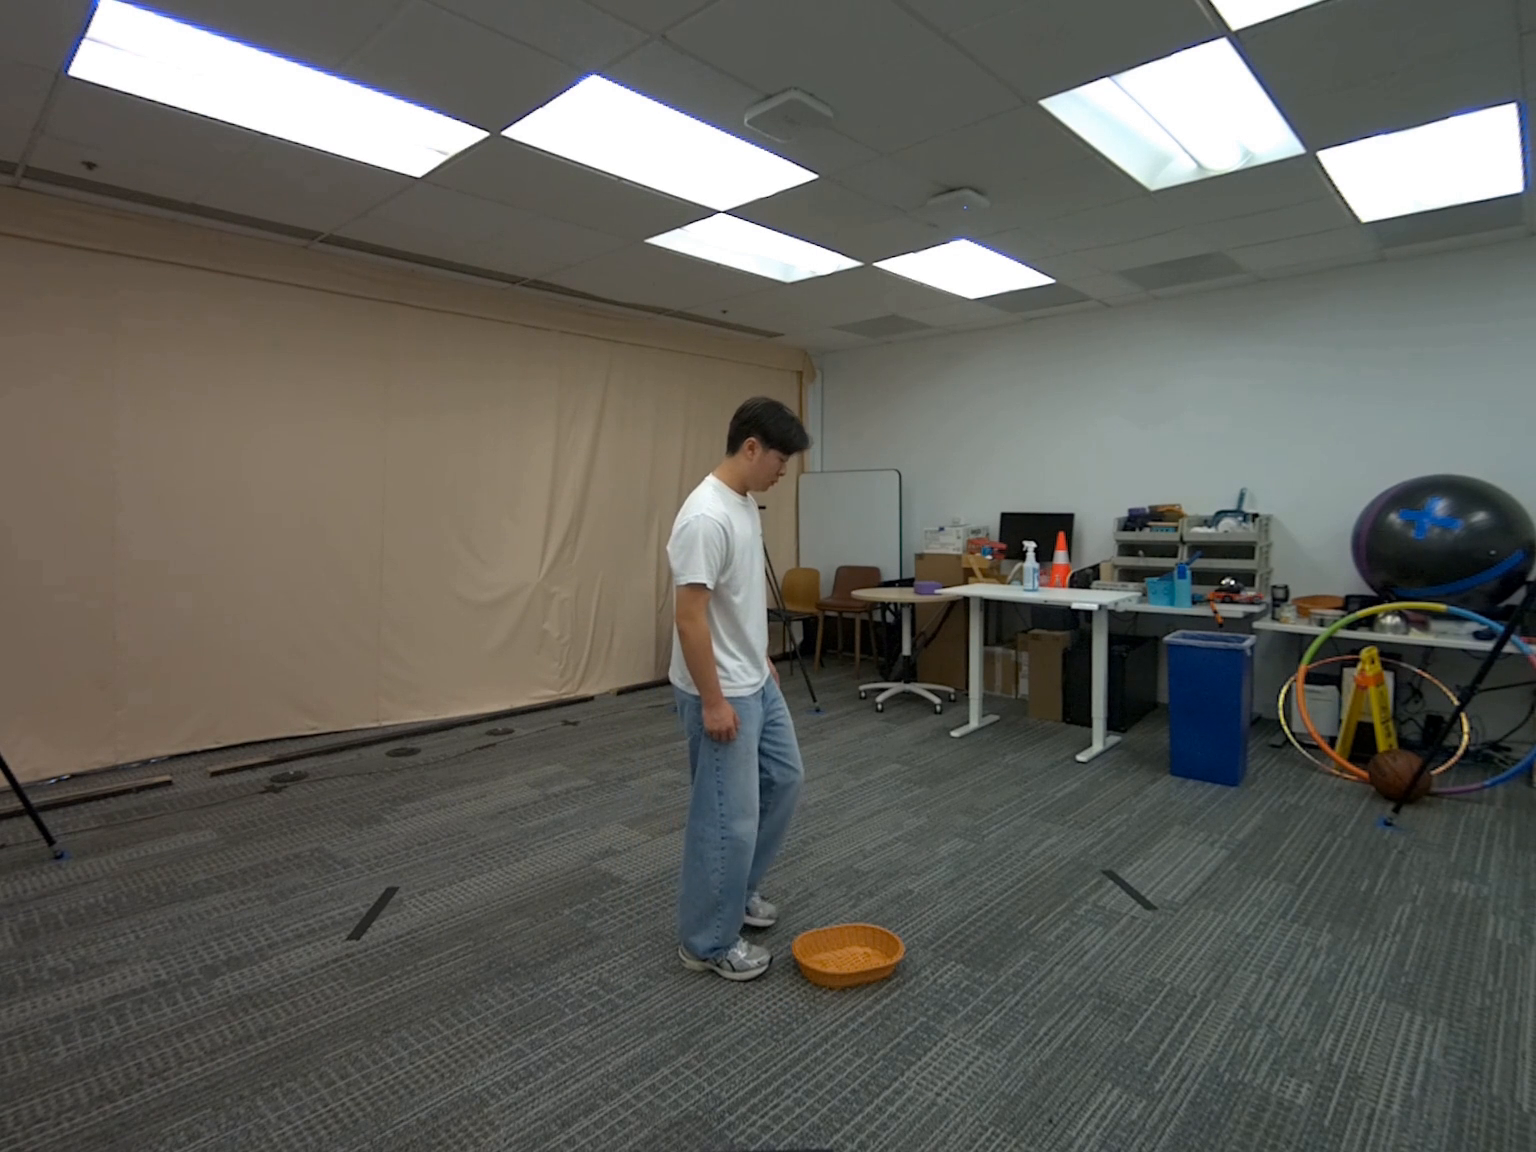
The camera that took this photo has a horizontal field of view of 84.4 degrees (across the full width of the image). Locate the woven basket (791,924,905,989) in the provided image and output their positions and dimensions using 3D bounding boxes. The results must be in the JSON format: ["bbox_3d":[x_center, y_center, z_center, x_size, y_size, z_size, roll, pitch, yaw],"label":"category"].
[{"bbox_3d":[0.243,1.144,2.521,0.345,0.073,0.257,-2,5,-17],"label":"woven basket"}]
